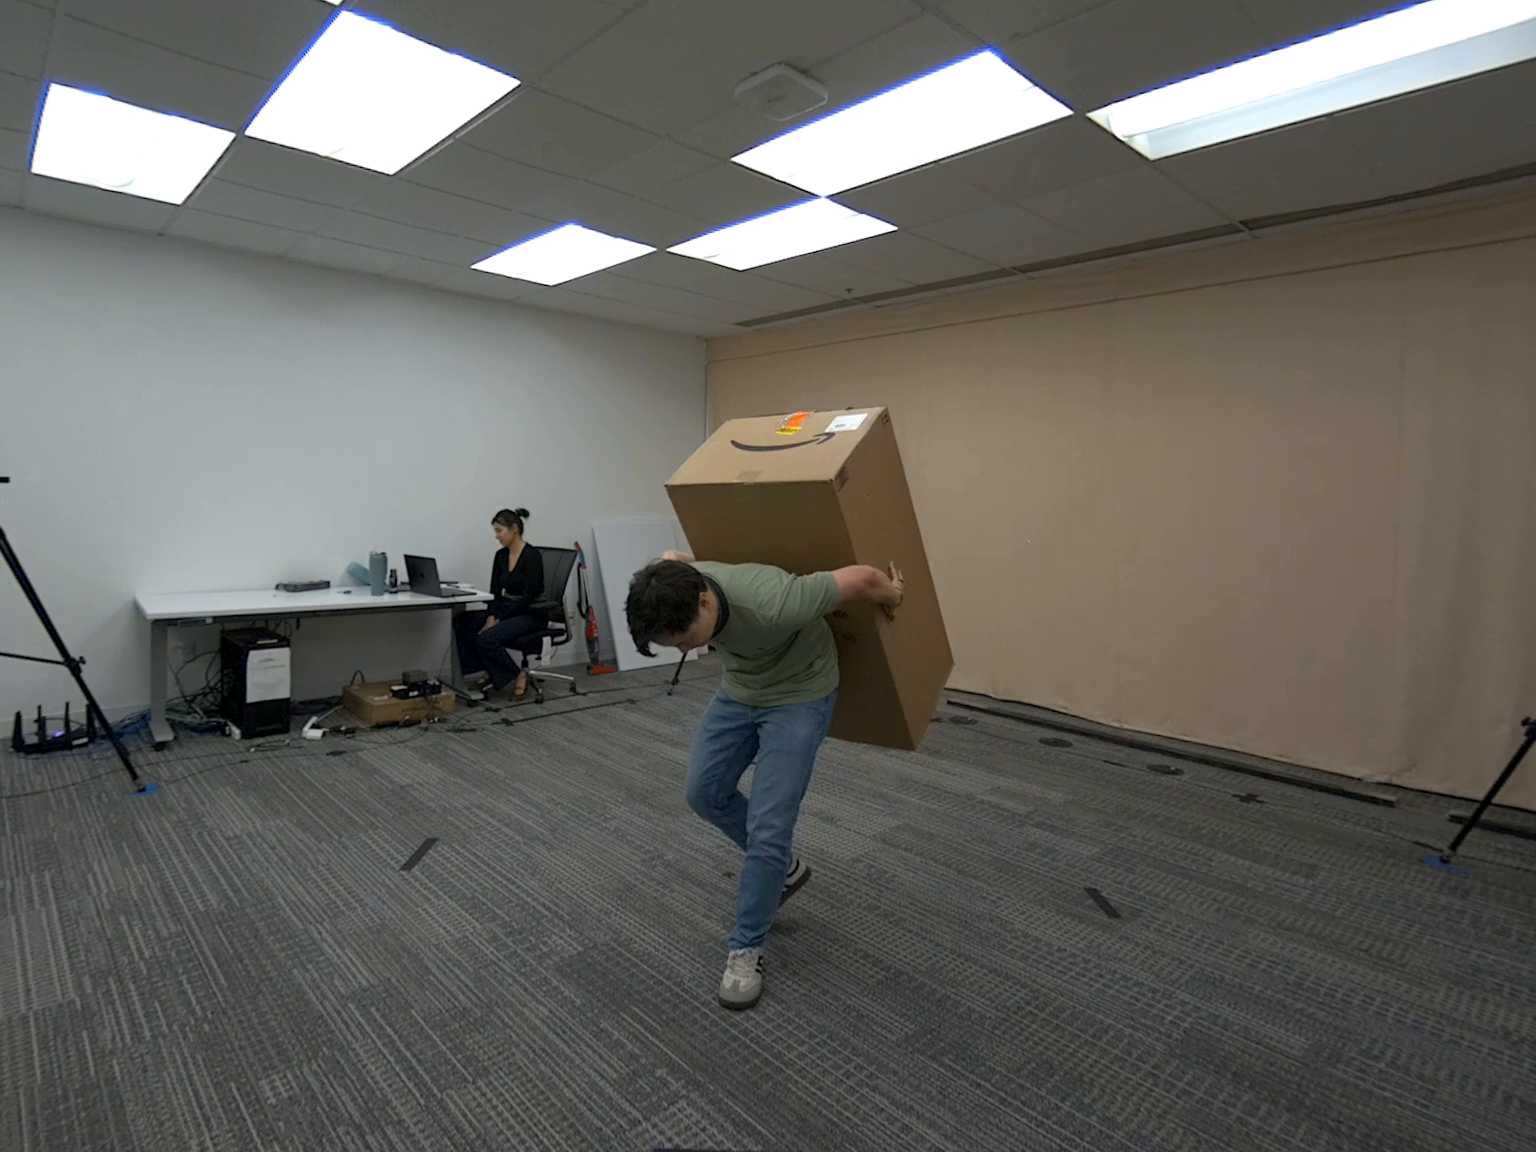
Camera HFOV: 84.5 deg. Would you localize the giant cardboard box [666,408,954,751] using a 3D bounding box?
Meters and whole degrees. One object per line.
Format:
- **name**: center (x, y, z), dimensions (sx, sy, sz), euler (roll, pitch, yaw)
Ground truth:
- **giant cardboard box**: center (0.171, 0.023, 2.758), dimensions (0.591, 1.001, 0.426), euler (3, 37, 35)
